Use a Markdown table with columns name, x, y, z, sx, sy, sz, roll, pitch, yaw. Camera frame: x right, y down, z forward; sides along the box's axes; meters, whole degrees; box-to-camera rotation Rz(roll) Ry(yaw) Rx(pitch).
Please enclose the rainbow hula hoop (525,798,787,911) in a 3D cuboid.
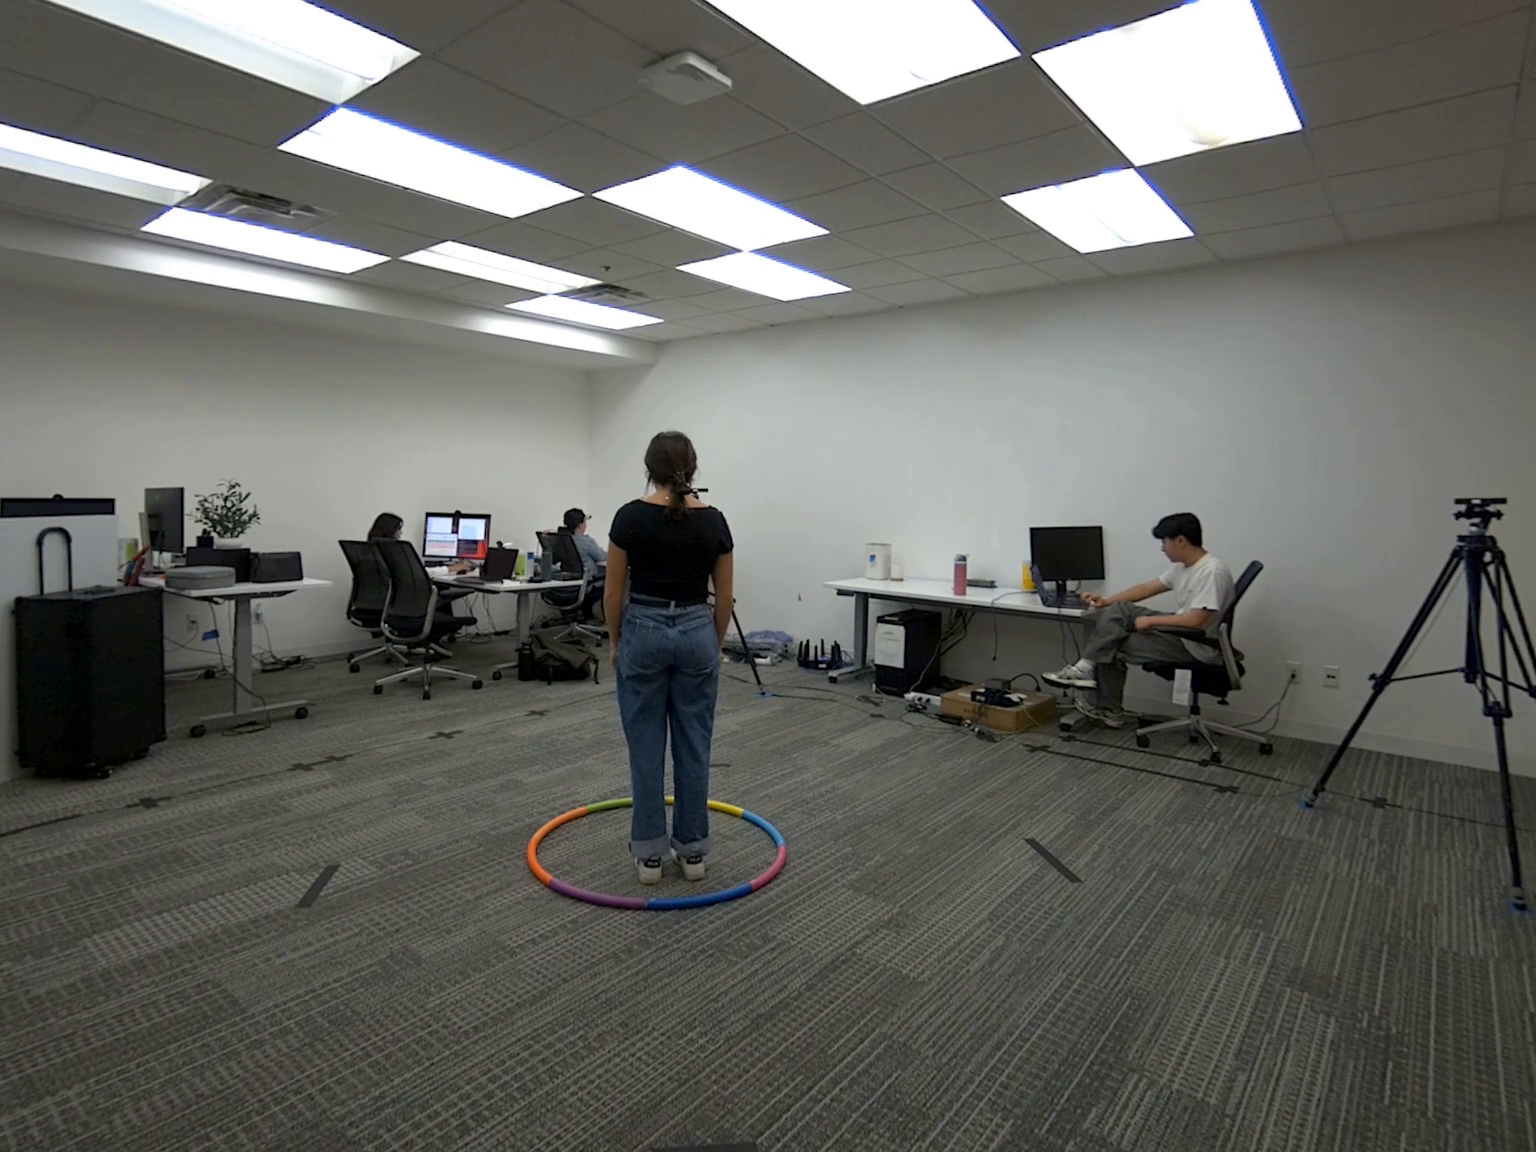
| name | x | y | z | sx | sy | sz | roll | pitch | yaw |
| --- | --- | --- | --- | --- | --- | --- | --- | --- | --- |
| rainbow hula hoop | -0.423 | 1.016 | 3.274 | 0.978 | 0.035 | 0.984 | 1 | 6 | -2 |
